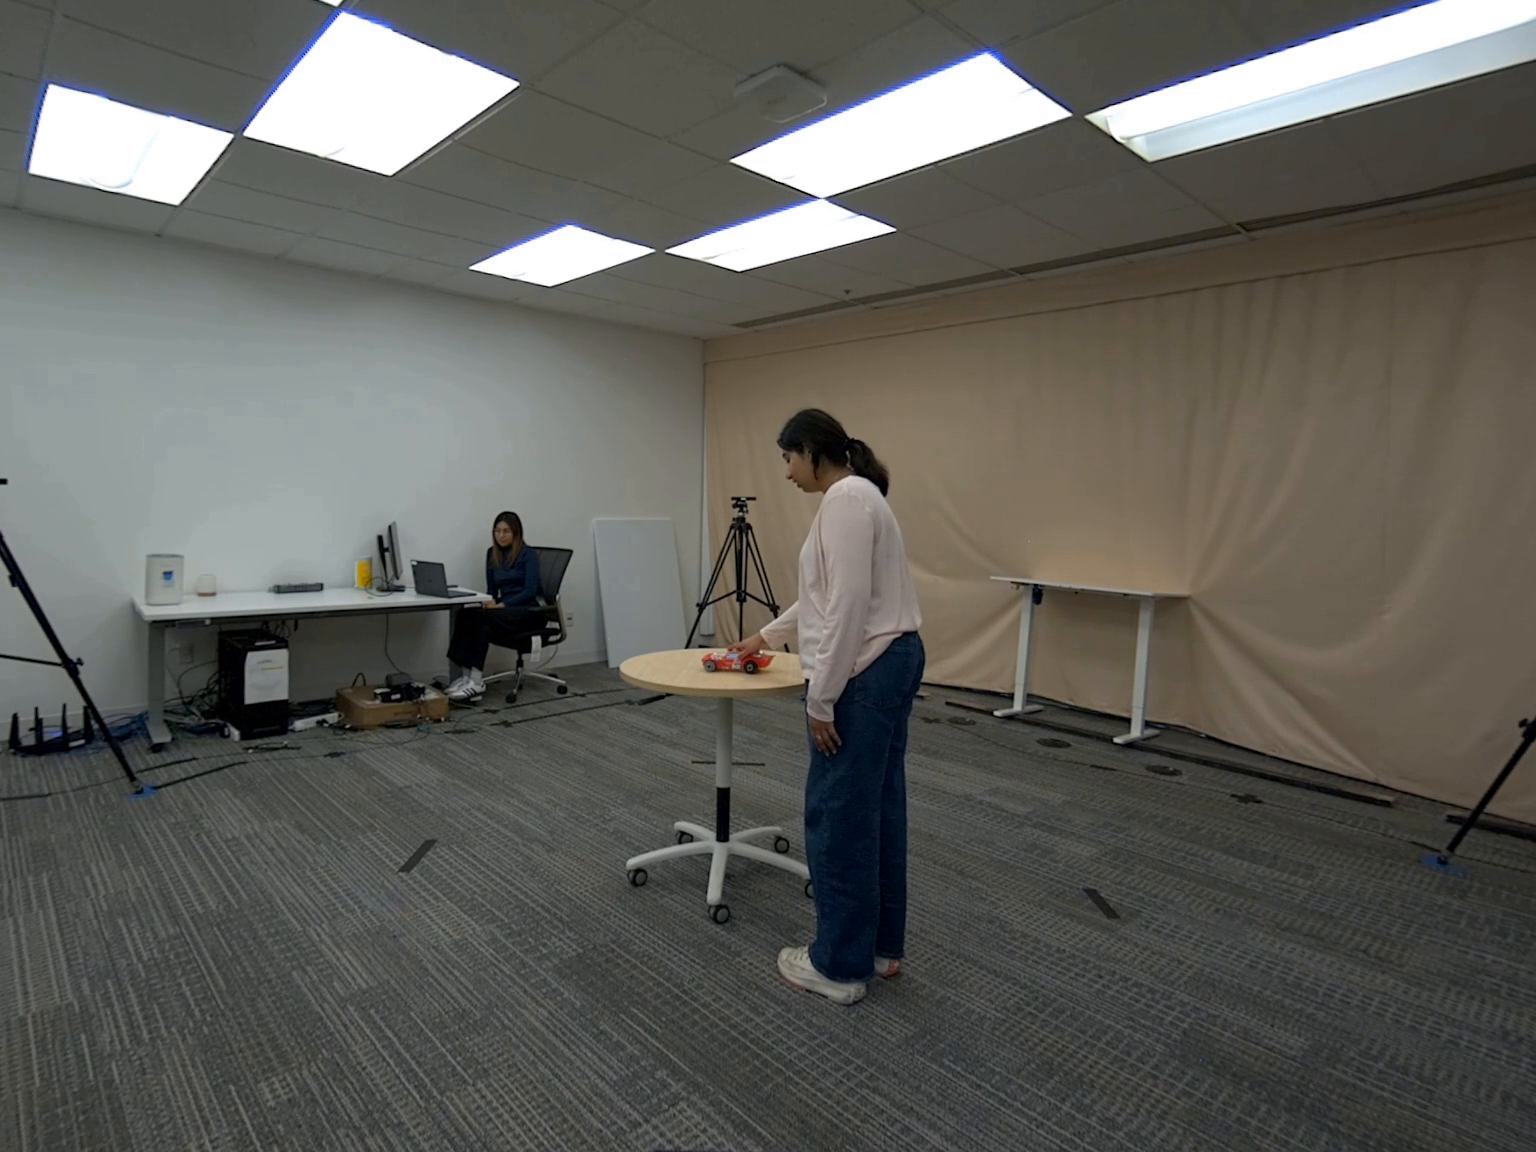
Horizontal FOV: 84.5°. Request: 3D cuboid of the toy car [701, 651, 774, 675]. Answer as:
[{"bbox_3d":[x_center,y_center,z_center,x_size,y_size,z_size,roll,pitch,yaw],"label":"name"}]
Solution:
[{"bbox_3d":[-0.106,0.302,2.968,0.256,0.083,0.129,-10,3,11],"label":"toy car"}]
